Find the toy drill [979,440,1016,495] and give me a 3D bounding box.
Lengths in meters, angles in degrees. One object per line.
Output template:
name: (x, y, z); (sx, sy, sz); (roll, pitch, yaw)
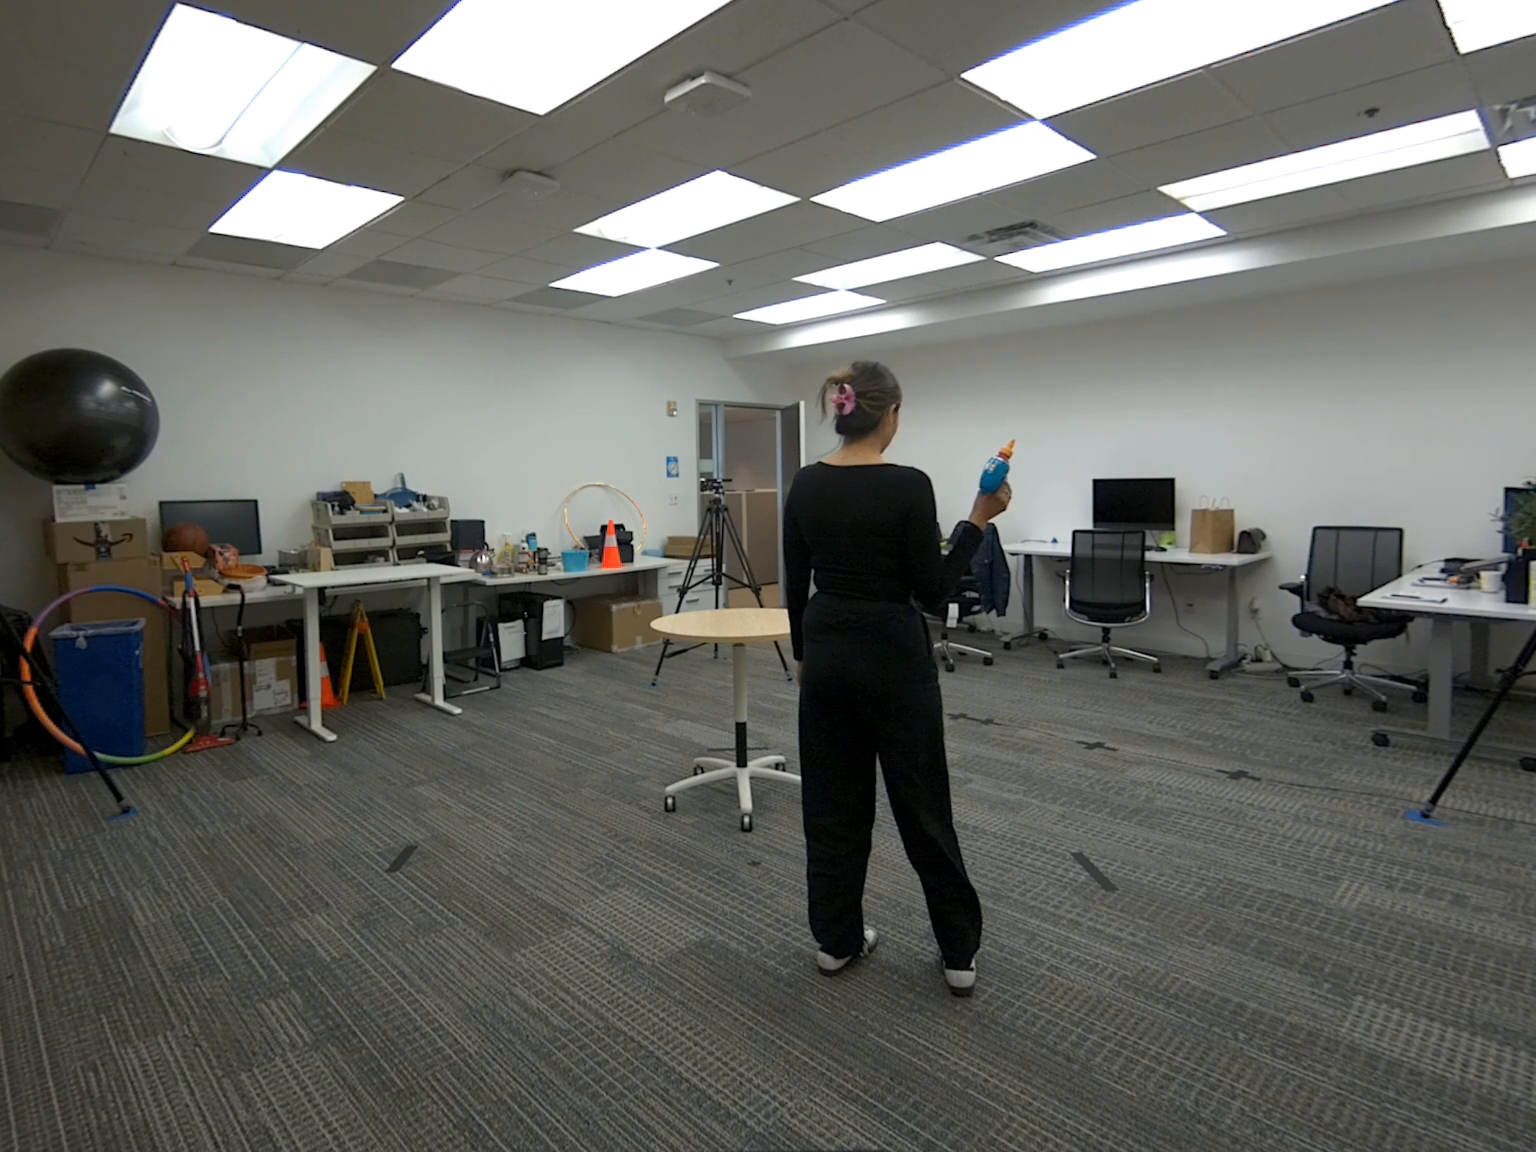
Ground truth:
toy drill: (0.618, -0.276, 2.265); (0.063, 0.170, 0.140); (23, -12, 35)
